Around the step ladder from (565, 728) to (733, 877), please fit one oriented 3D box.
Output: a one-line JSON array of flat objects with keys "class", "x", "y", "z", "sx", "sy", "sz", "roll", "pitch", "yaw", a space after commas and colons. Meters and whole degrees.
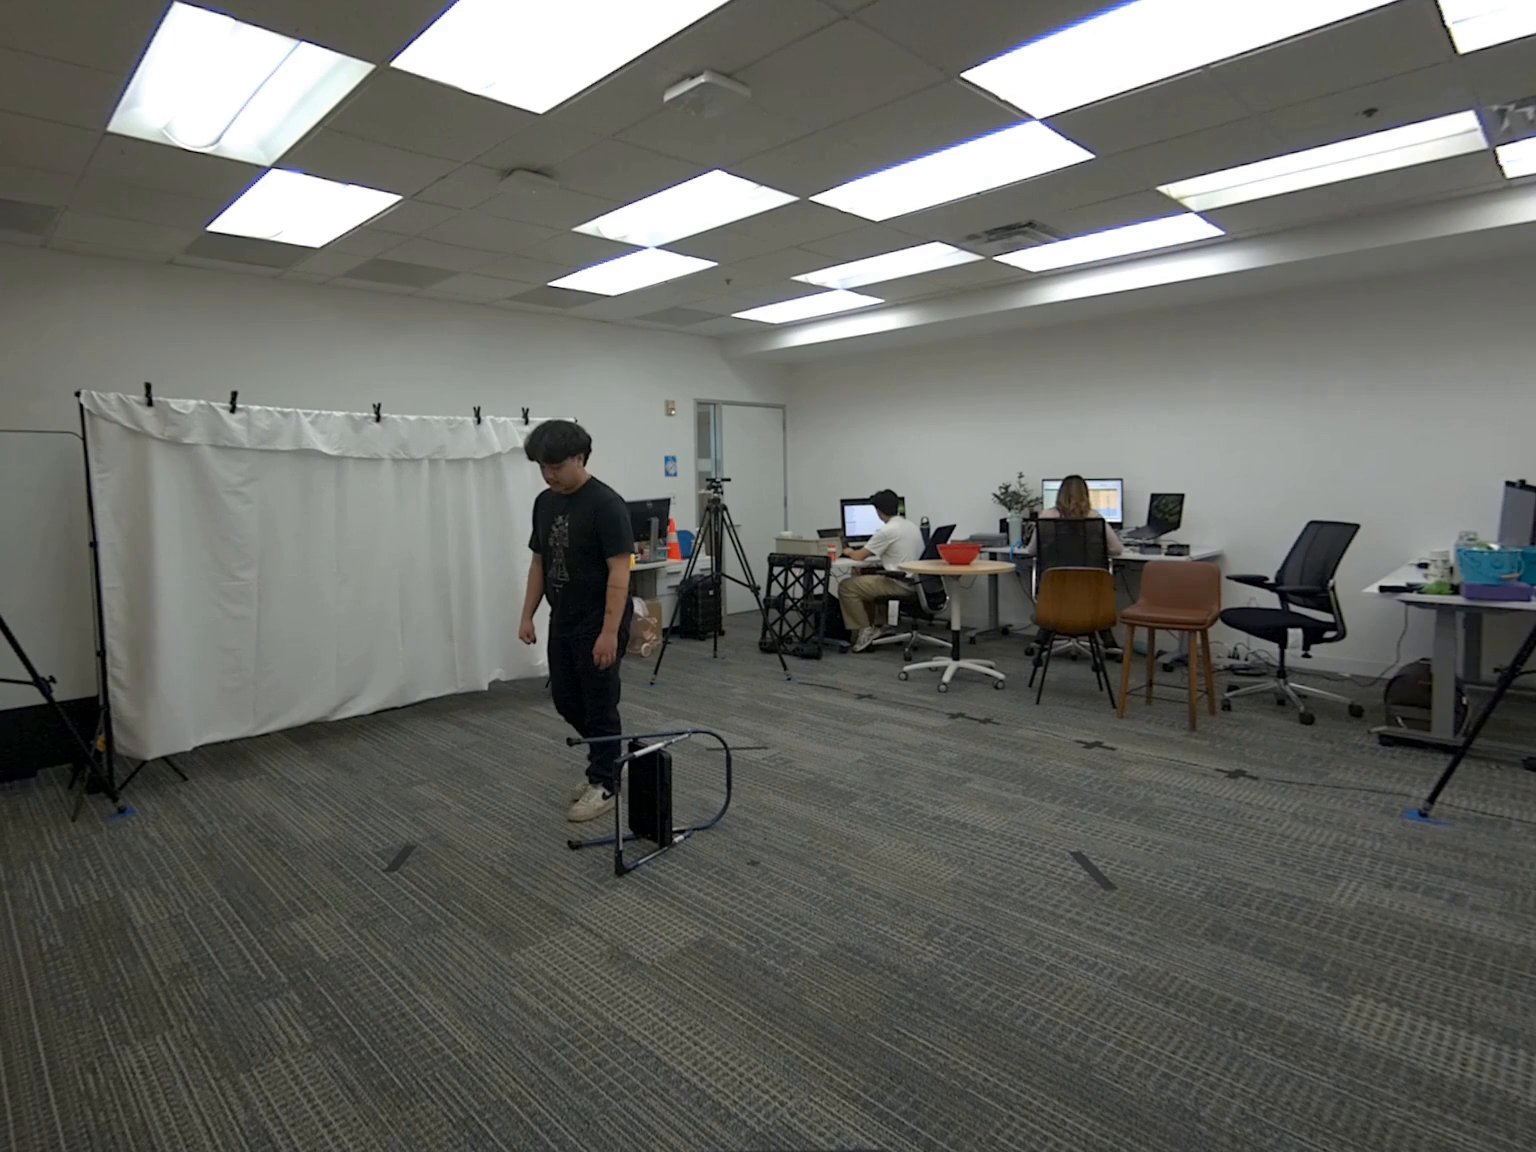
[{"class": "step ladder", "x": -0.424, "y": 0.814, "z": 3.306, "sx": 0.590, "sy": 0.429, "sz": 0.360, "roll": -5, "pitch": 7, "yaw": -41}]
